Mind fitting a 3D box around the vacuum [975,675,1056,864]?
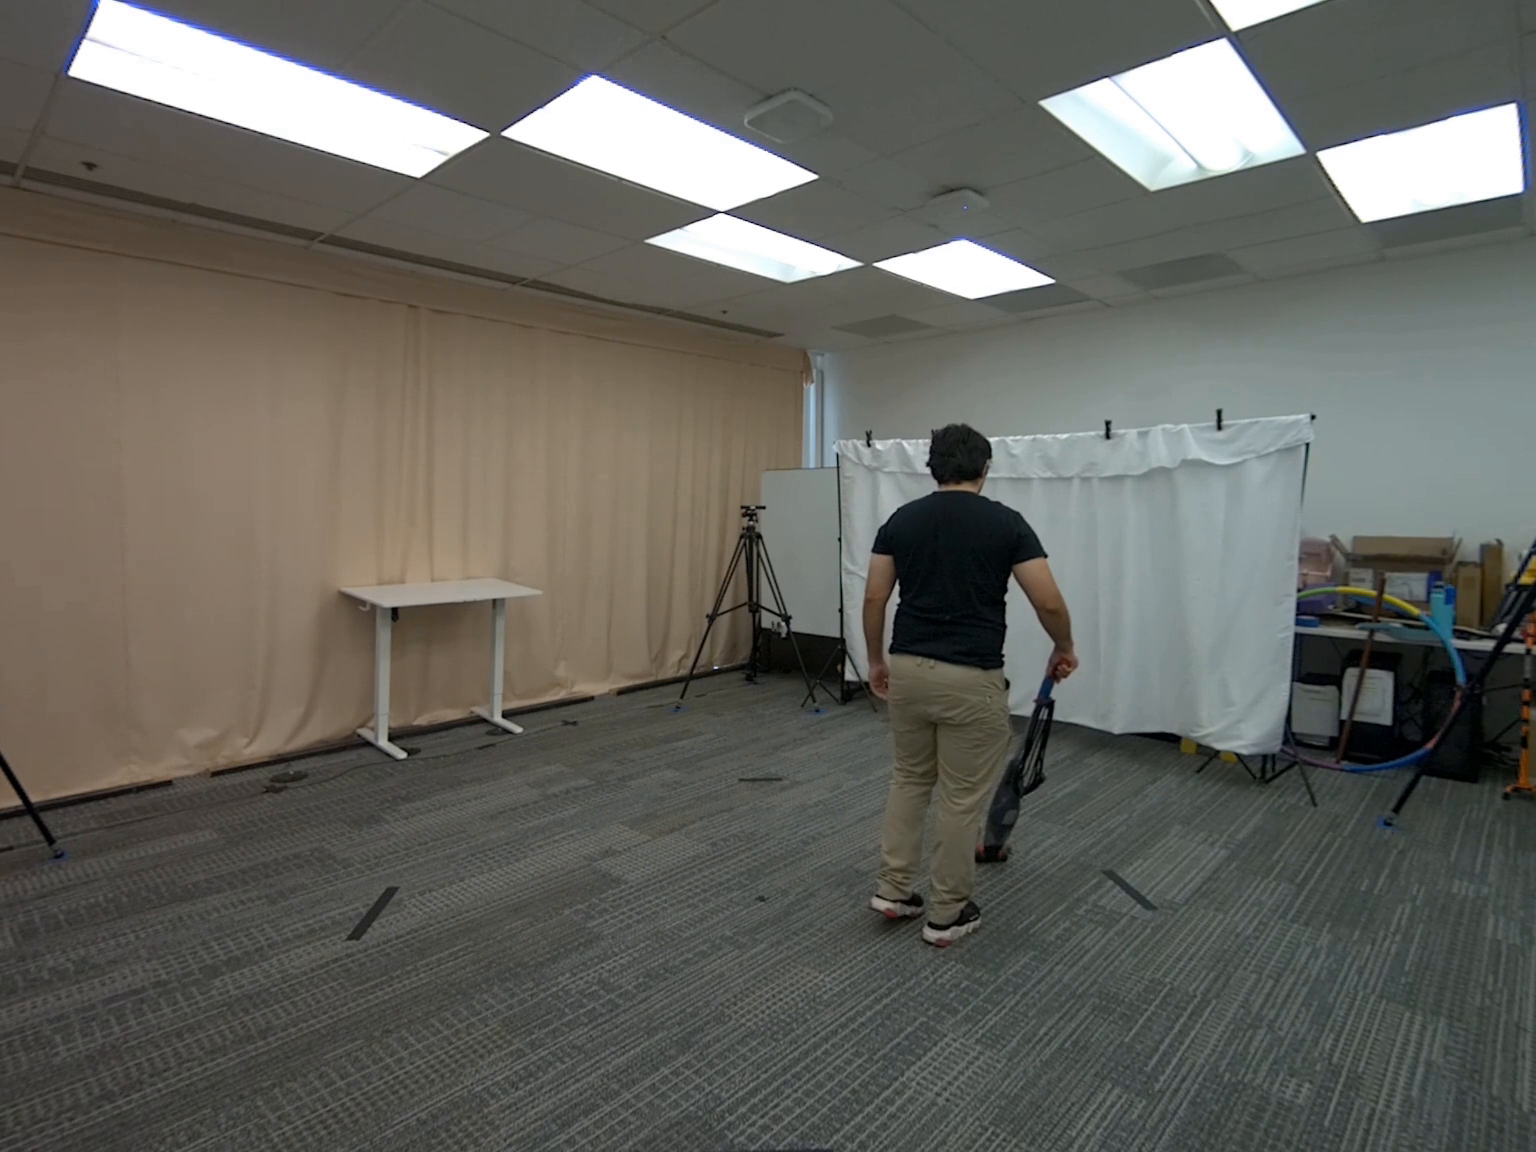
[{"bbox_3d":[0.916,0.702,3.037,0.250,1.034,0.147,1,38,-8],"label":"vacuum"}]
